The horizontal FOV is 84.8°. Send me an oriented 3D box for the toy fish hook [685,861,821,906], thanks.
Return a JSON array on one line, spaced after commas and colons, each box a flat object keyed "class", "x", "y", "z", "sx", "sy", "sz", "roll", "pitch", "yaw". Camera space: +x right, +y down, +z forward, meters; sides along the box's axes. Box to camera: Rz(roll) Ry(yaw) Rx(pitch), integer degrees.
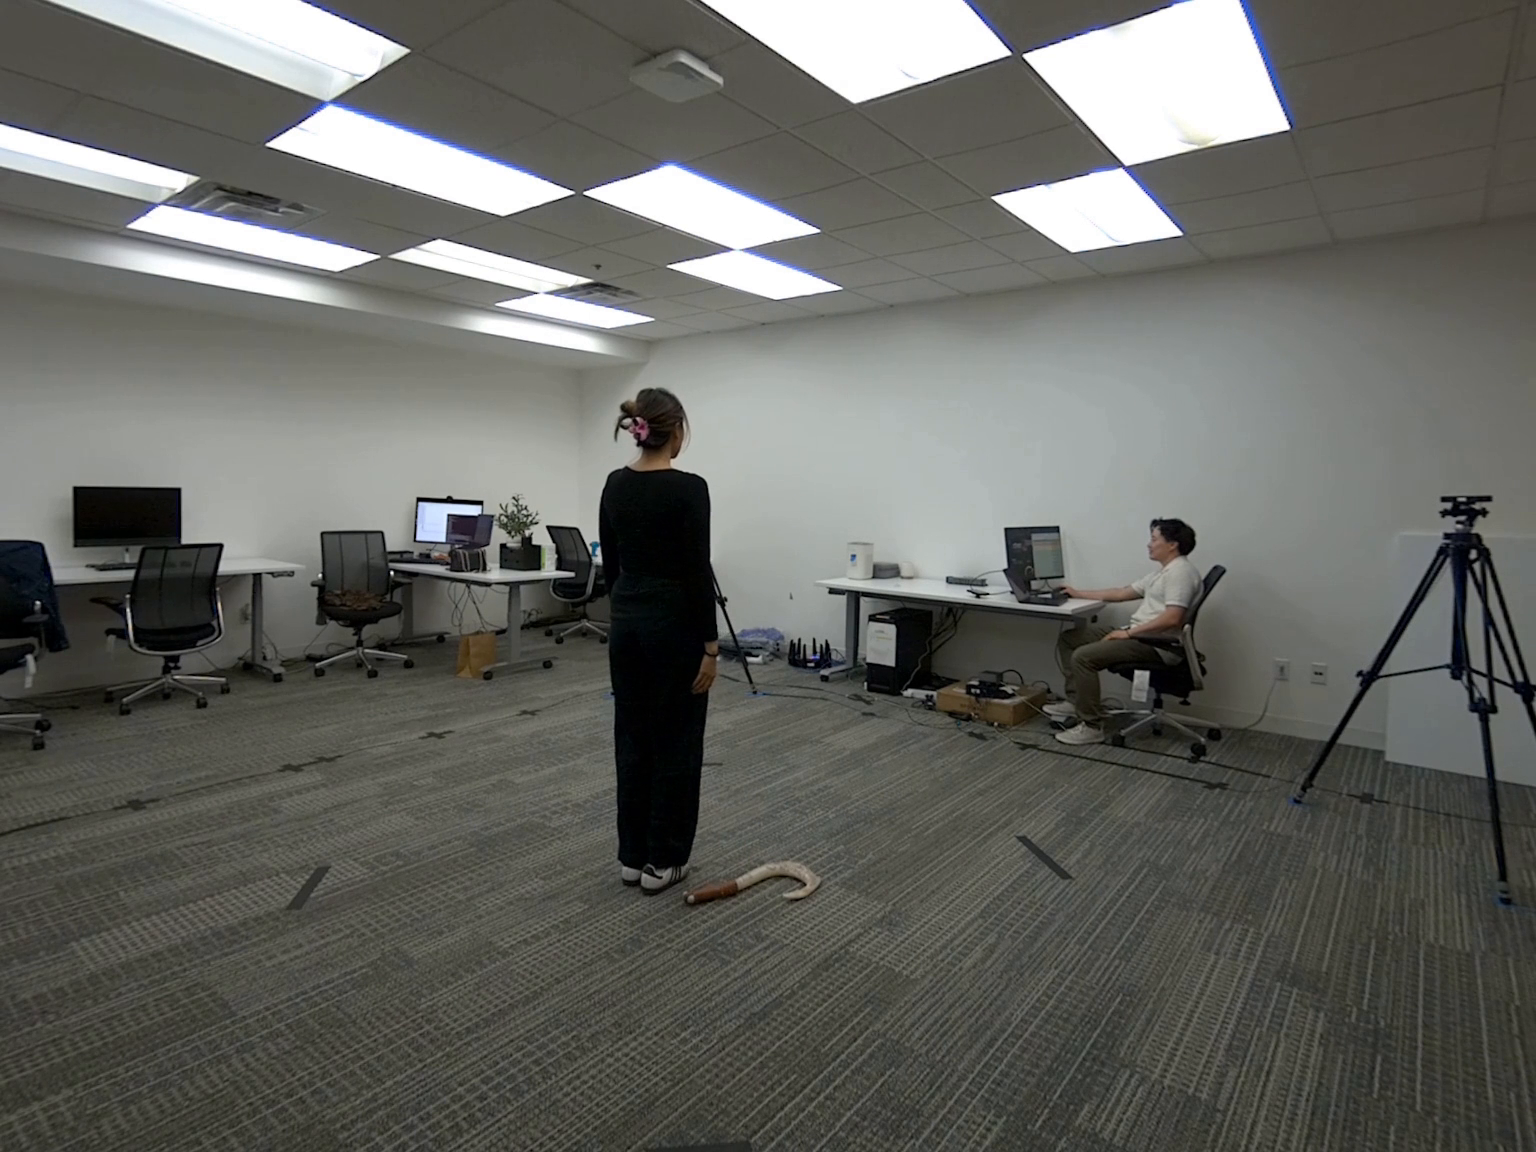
[{"class": "toy fish hook", "x": -0.050, "y": 1.072, "z": 2.907, "sx": 0.492, "sy": 0.048, "sz": 0.232, "roll": -3, "pitch": 6, "yaw": -33}]
